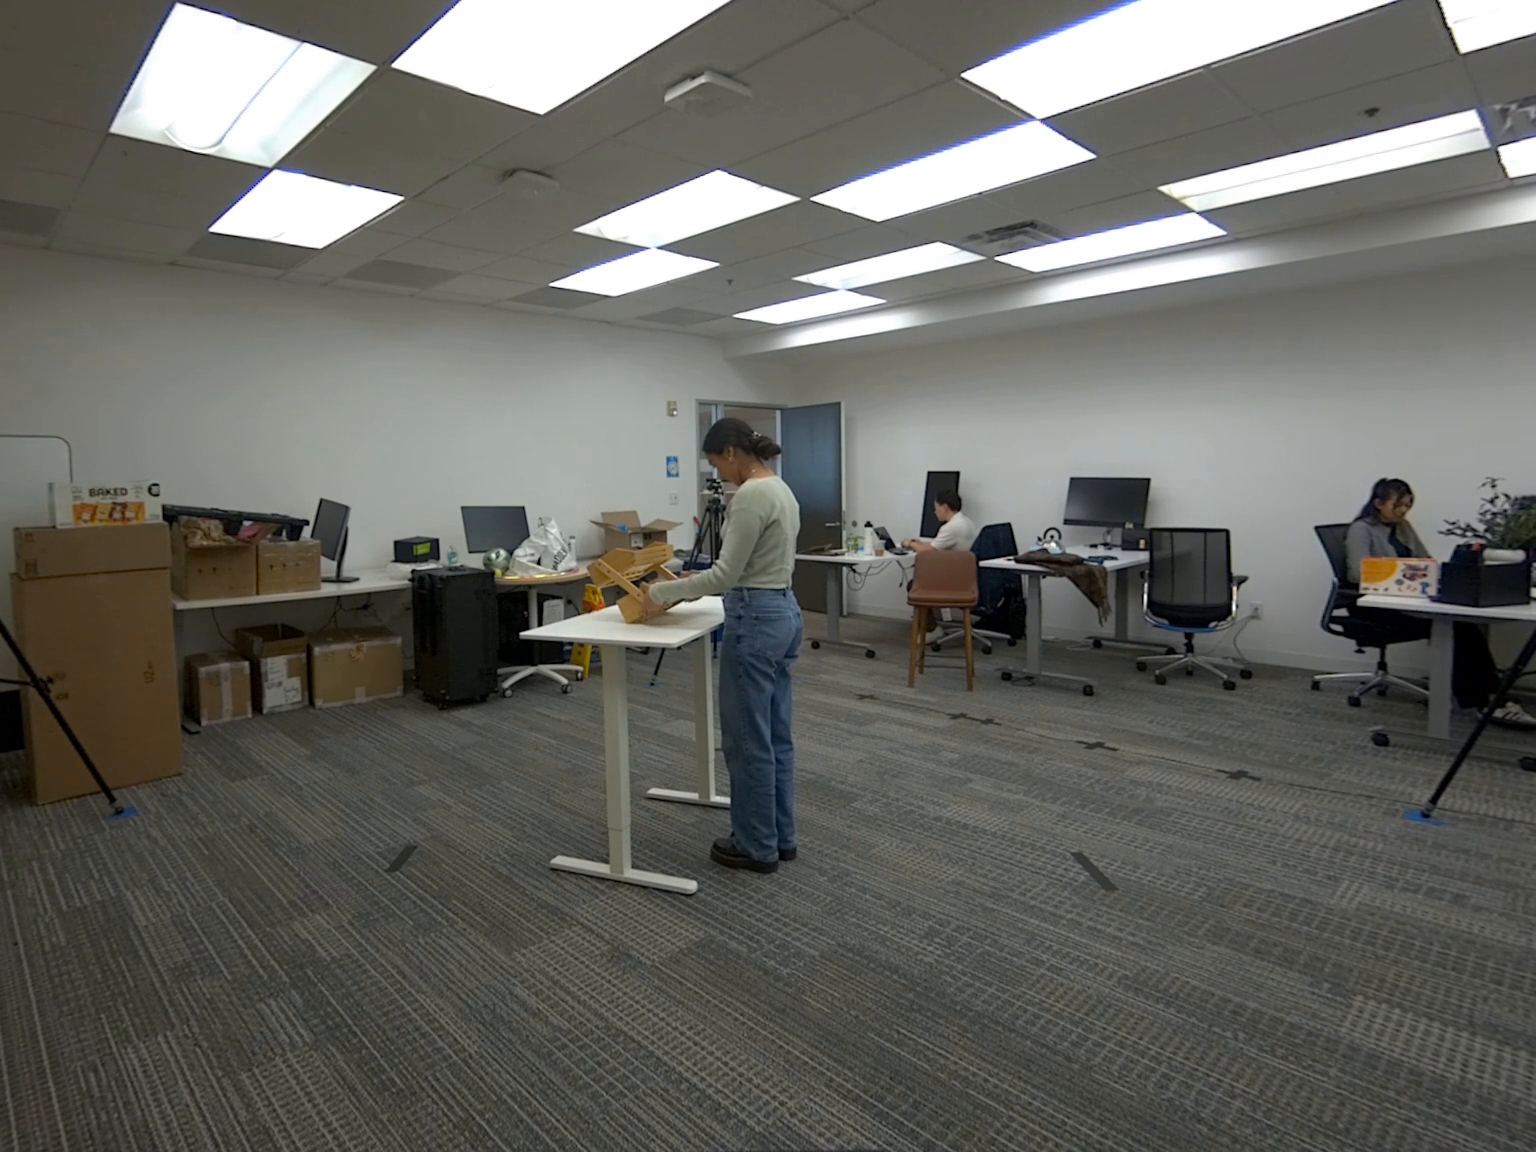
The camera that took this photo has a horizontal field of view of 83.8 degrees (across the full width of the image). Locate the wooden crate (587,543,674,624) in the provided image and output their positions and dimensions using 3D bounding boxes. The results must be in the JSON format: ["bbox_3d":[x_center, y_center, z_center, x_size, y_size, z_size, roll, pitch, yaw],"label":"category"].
[{"bbox_3d":[-0.435,-0.006,3.207,0.304,0.276,0.319,-29,-6,22],"label":"wooden crate"}]
